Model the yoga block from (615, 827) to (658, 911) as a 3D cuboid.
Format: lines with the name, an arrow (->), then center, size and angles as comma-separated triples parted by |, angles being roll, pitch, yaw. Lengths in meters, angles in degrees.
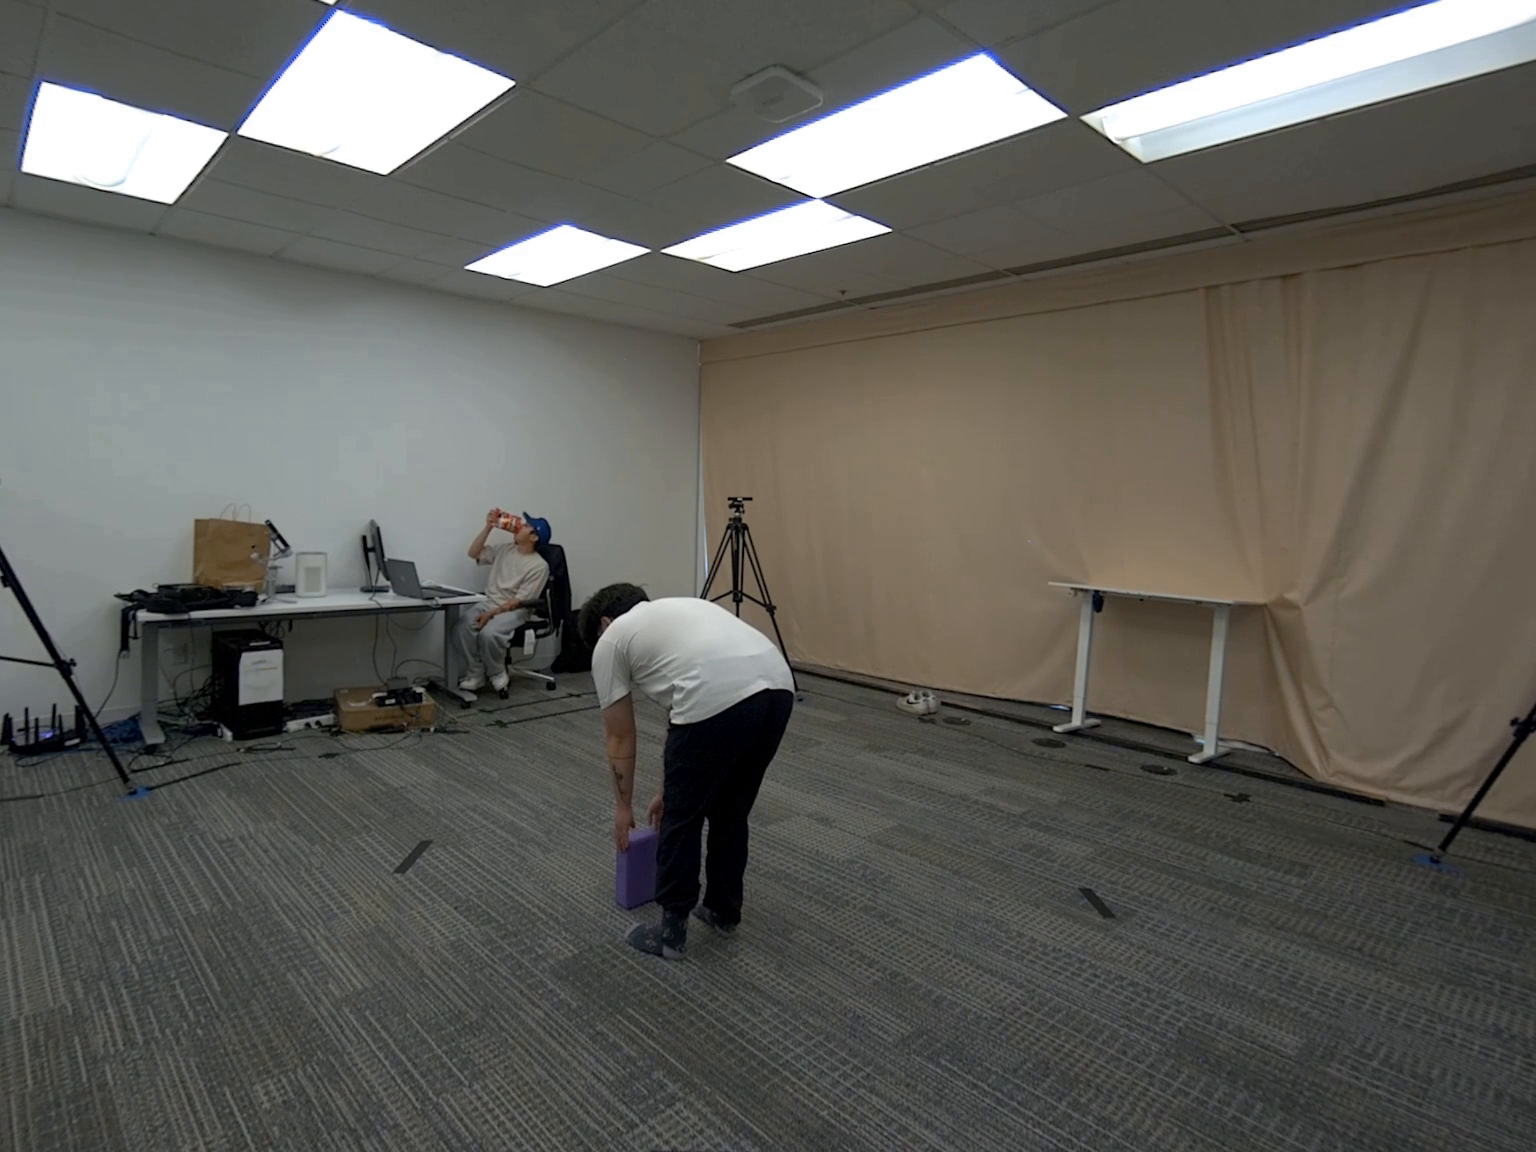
yoga block -> -0.453, 1.011, 2.889 | 0.146, 0.228, 0.078 | -4, 8, -45
